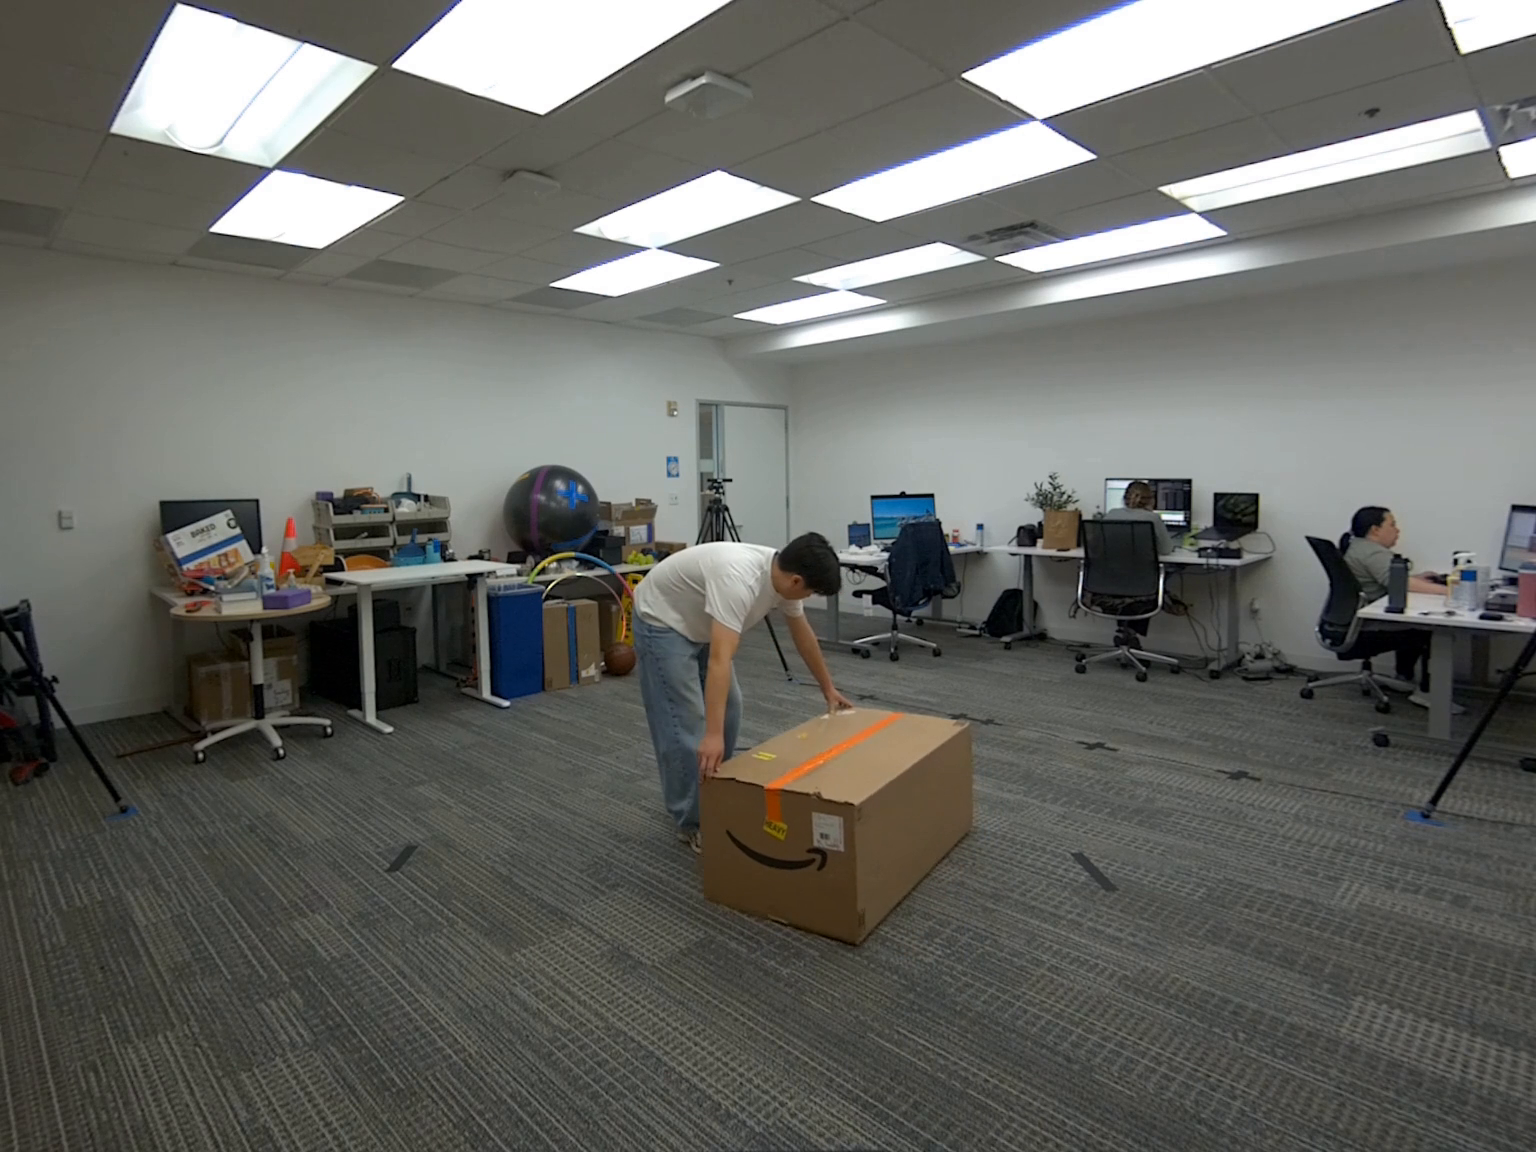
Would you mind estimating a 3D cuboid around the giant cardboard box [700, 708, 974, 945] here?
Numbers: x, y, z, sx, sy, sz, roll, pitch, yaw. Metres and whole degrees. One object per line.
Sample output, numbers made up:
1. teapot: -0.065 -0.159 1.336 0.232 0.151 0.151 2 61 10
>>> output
1. giant cardboard box: 0.286 0.822 3.092 0.593 0.425 1.002 1 6 33
